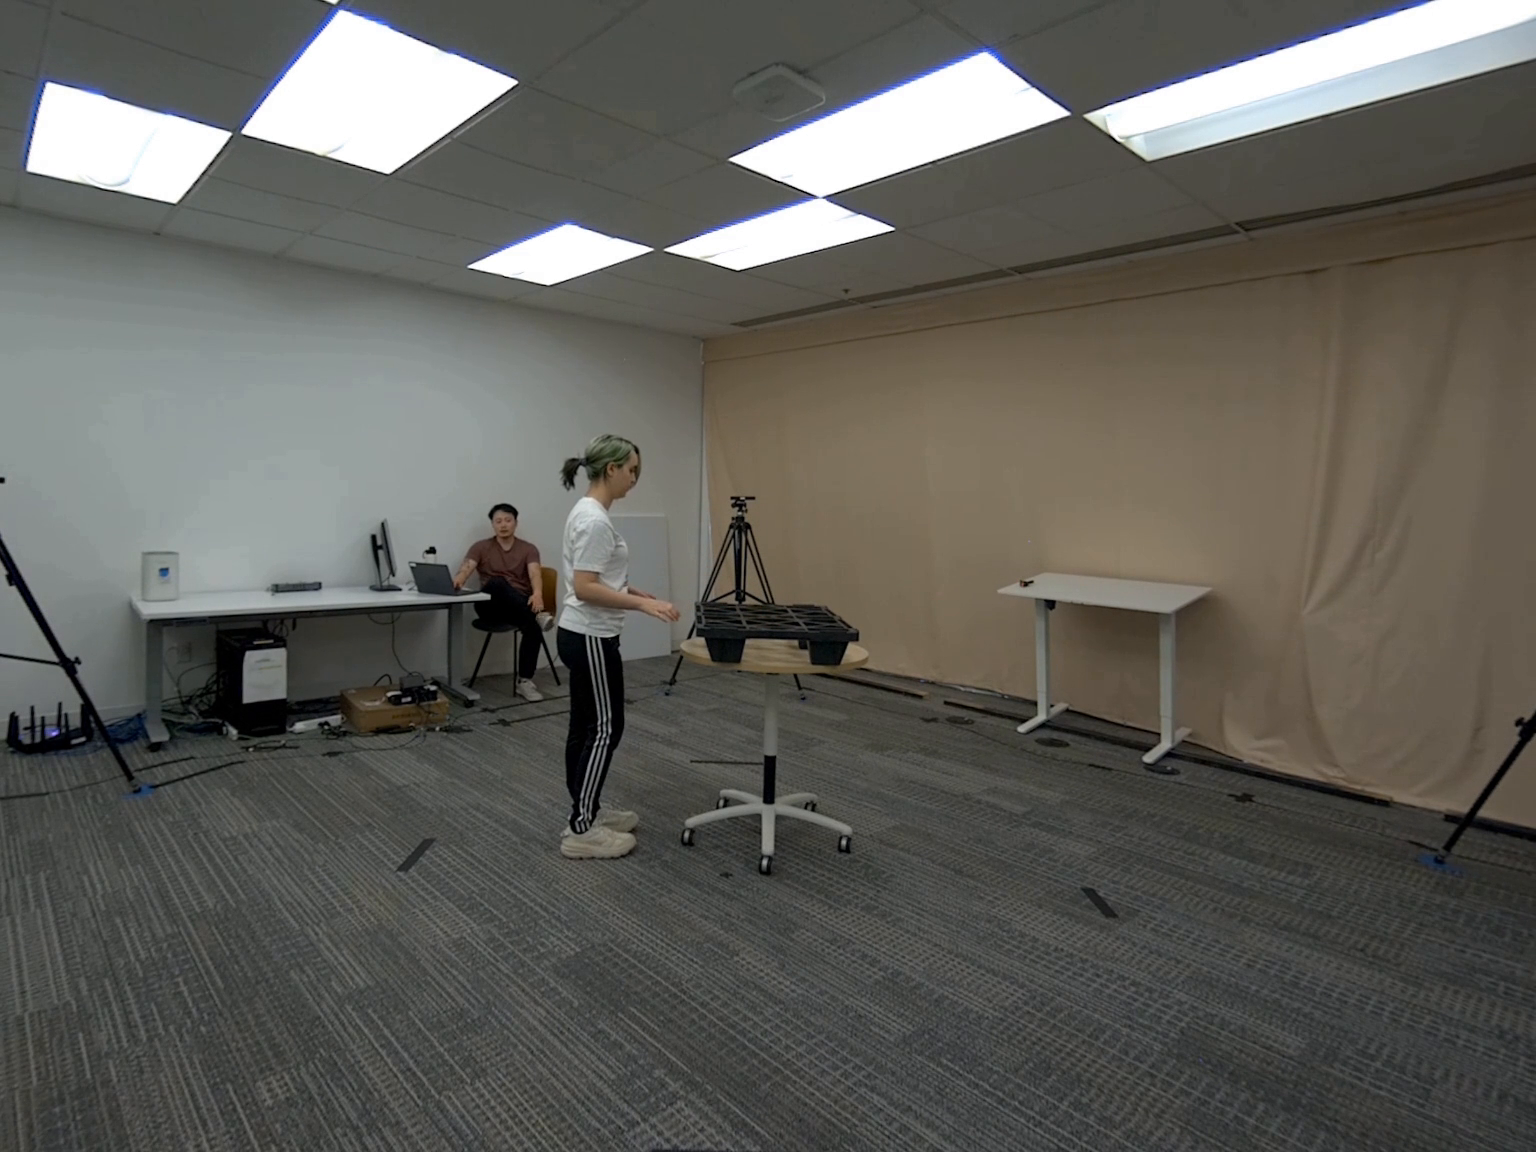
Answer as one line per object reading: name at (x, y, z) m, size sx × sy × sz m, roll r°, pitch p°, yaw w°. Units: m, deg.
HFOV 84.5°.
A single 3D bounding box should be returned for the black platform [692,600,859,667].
black platform at (-0.011, 0.229, 3.442) m, size 0.603 × 0.143 × 0.810 m, roll 1°, pitch 5°, yaw -4°
